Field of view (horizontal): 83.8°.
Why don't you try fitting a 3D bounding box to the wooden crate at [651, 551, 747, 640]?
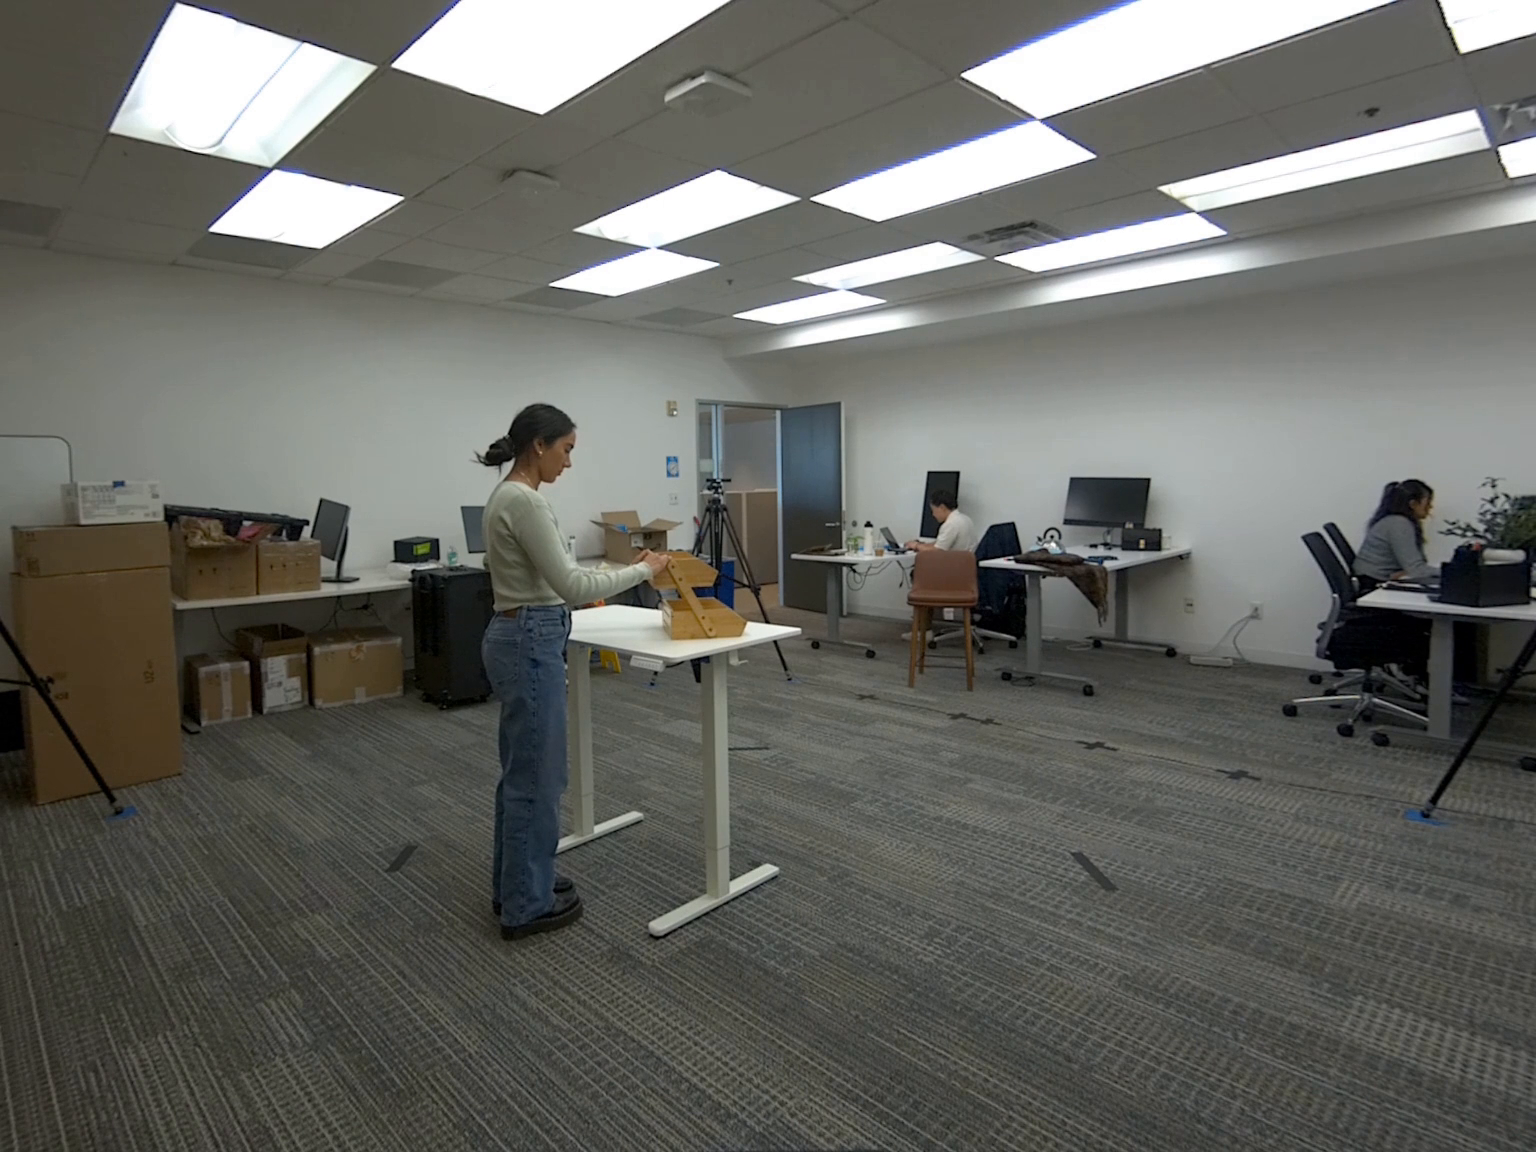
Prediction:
[{"bbox_3d":[-0.247,0.056,2.899,0.299,0.272,0.329,-2,5,-10],"label":"wooden crate"}]
